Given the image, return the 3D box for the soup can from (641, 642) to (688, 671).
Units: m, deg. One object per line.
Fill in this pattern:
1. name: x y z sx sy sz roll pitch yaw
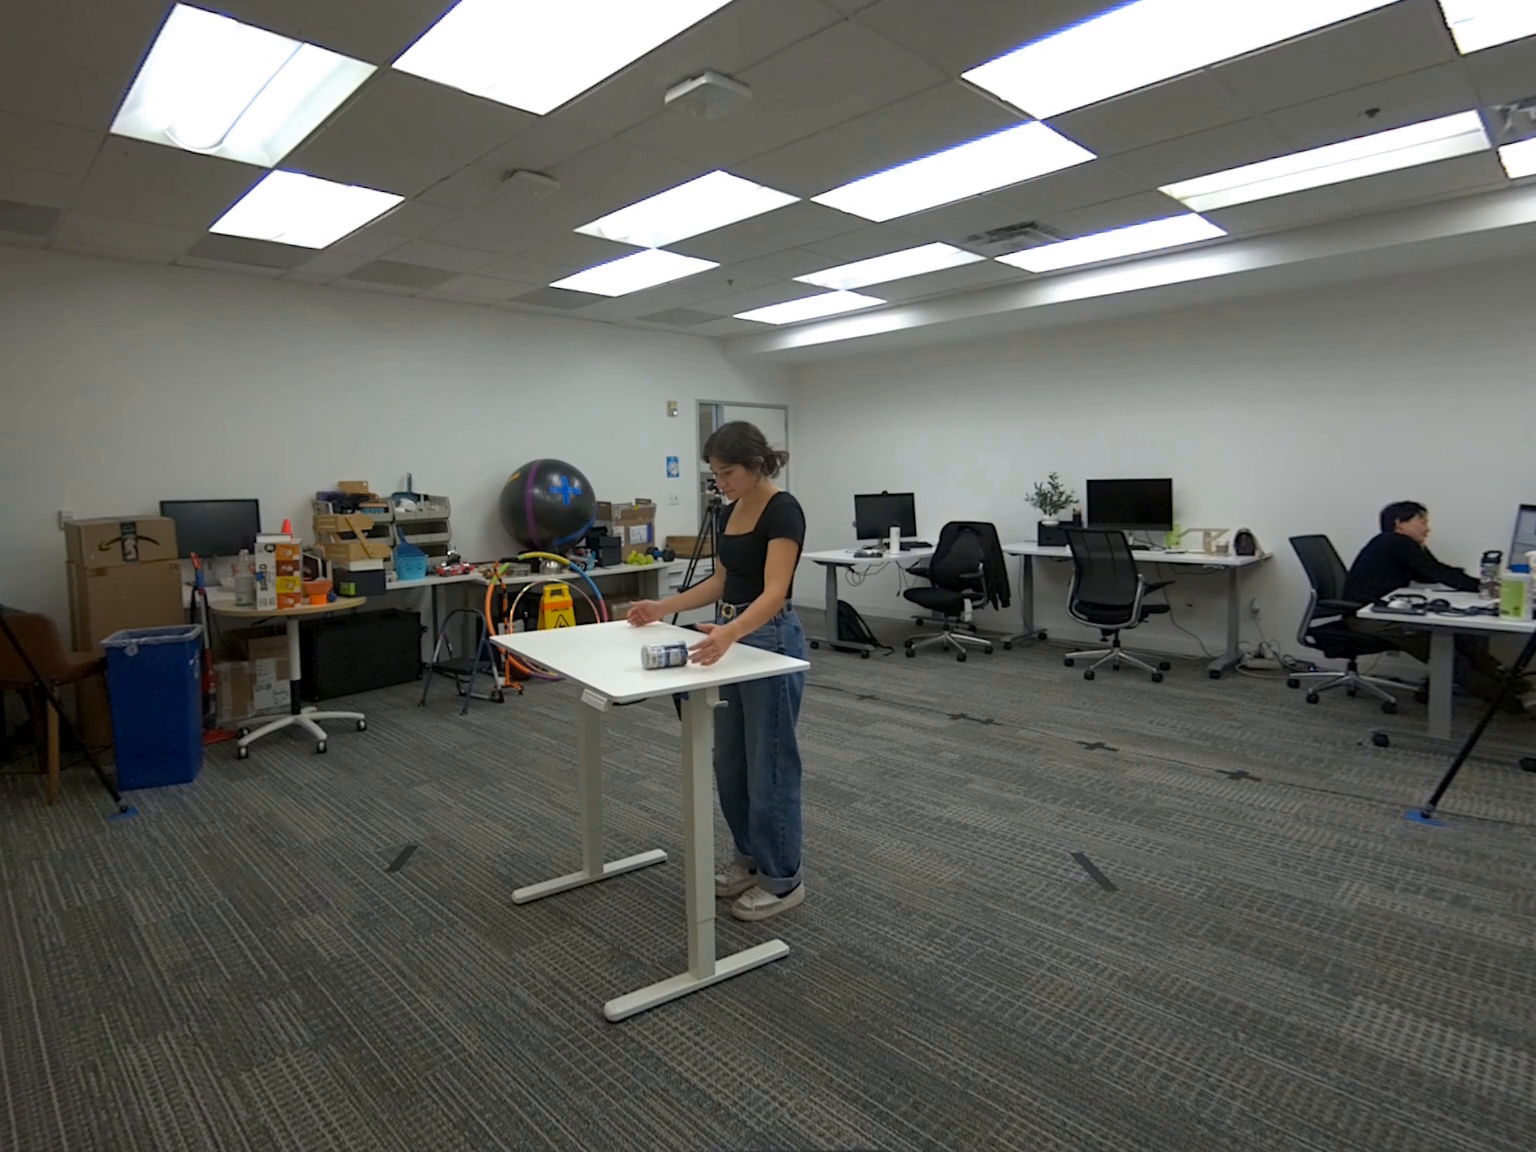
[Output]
1. soup can: -0.286 0.221 2.369 0.119 0.067 0.068 -2 5 -19
